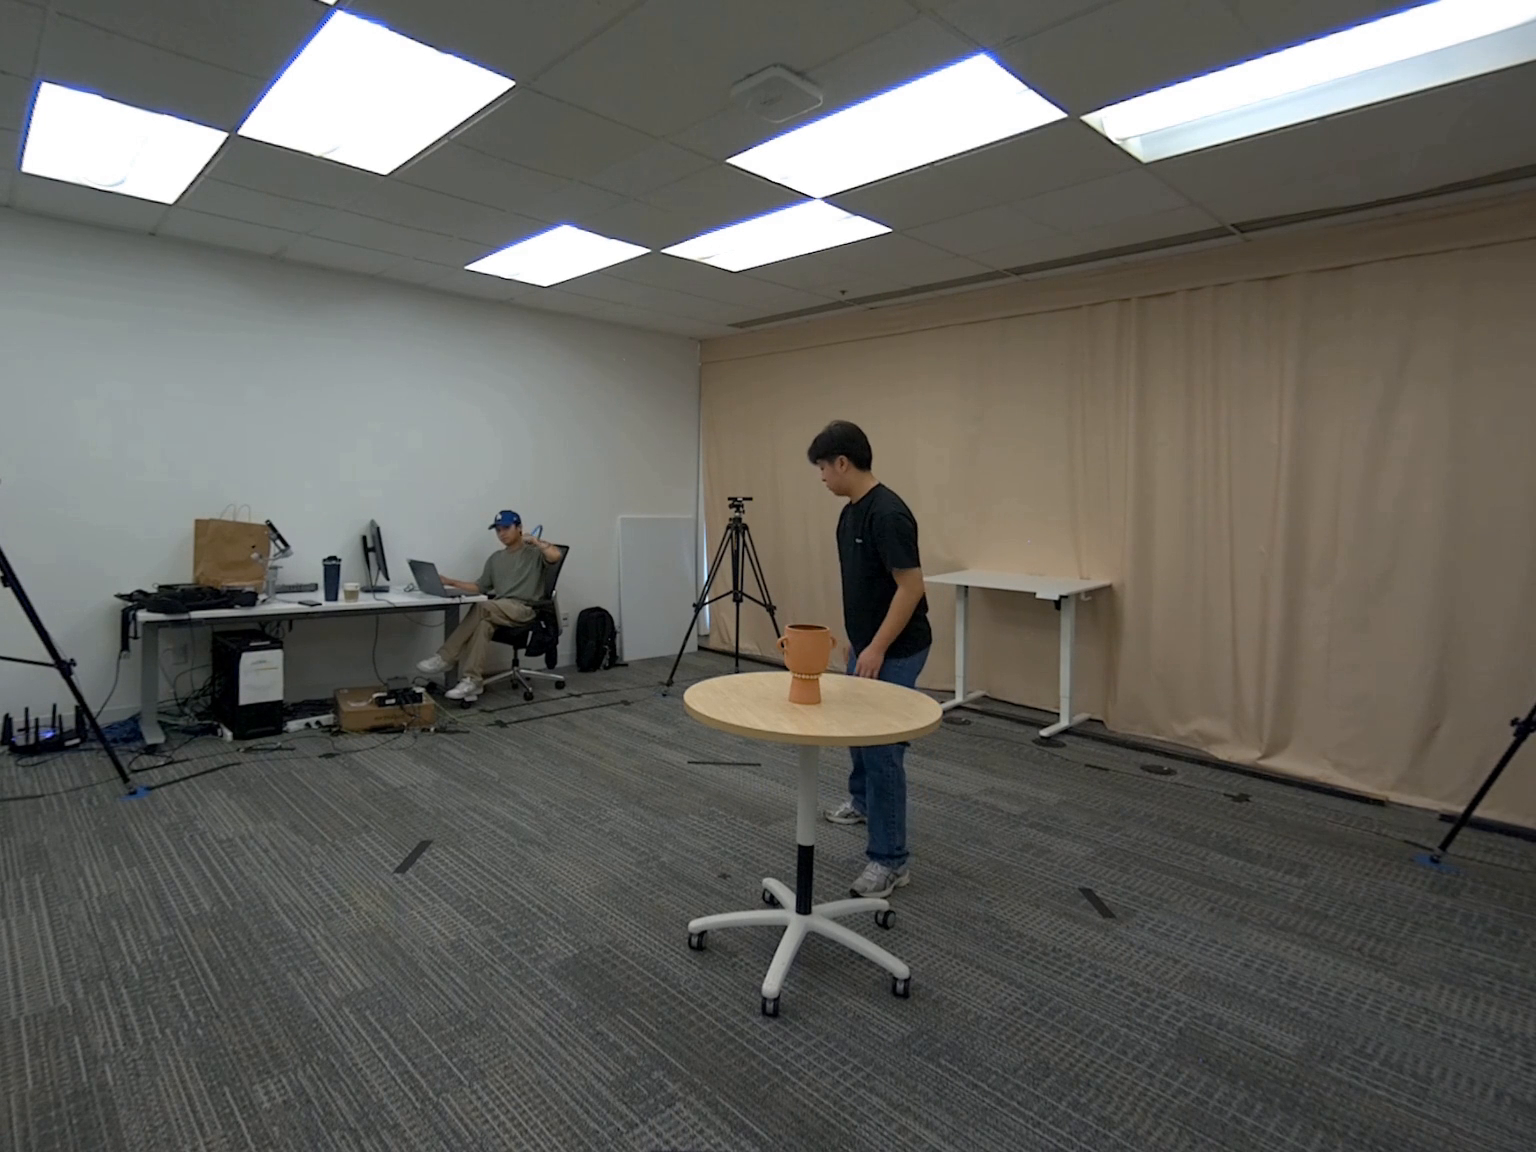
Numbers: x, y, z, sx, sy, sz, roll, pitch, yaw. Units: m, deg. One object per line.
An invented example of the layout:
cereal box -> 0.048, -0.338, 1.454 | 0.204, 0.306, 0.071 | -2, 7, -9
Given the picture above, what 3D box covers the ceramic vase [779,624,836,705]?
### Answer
ceramic vase -> 0.112, 0.267, 2.486 | 0.161, 0.219, 0.133 | 4, 5, 14
